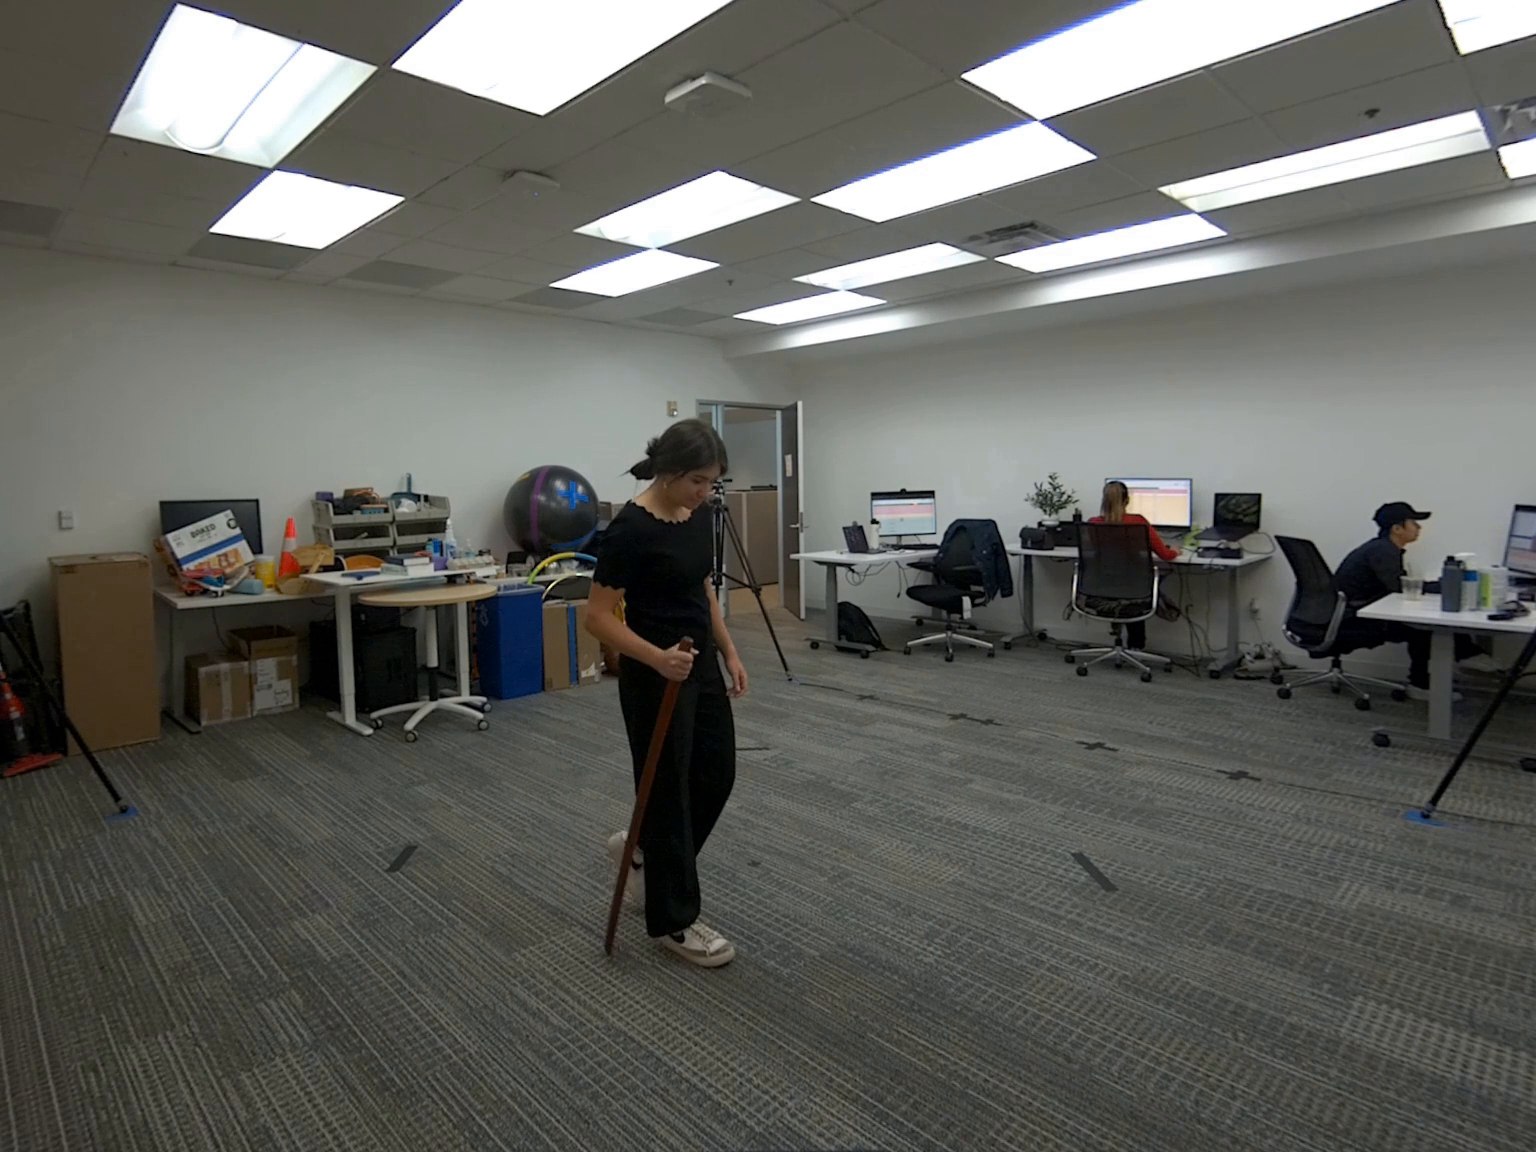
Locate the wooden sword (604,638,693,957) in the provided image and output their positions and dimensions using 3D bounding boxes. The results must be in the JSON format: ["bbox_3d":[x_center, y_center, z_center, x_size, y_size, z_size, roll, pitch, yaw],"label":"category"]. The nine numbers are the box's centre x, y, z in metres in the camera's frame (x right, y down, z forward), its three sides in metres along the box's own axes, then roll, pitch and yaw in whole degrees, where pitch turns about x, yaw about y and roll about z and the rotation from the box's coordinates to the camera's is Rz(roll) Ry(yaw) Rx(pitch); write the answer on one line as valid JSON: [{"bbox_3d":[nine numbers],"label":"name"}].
[{"bbox_3d":[-0.358,0.650,2.366,0.025,1.014,0.050,28,21,35],"label":"wooden sword"}]
